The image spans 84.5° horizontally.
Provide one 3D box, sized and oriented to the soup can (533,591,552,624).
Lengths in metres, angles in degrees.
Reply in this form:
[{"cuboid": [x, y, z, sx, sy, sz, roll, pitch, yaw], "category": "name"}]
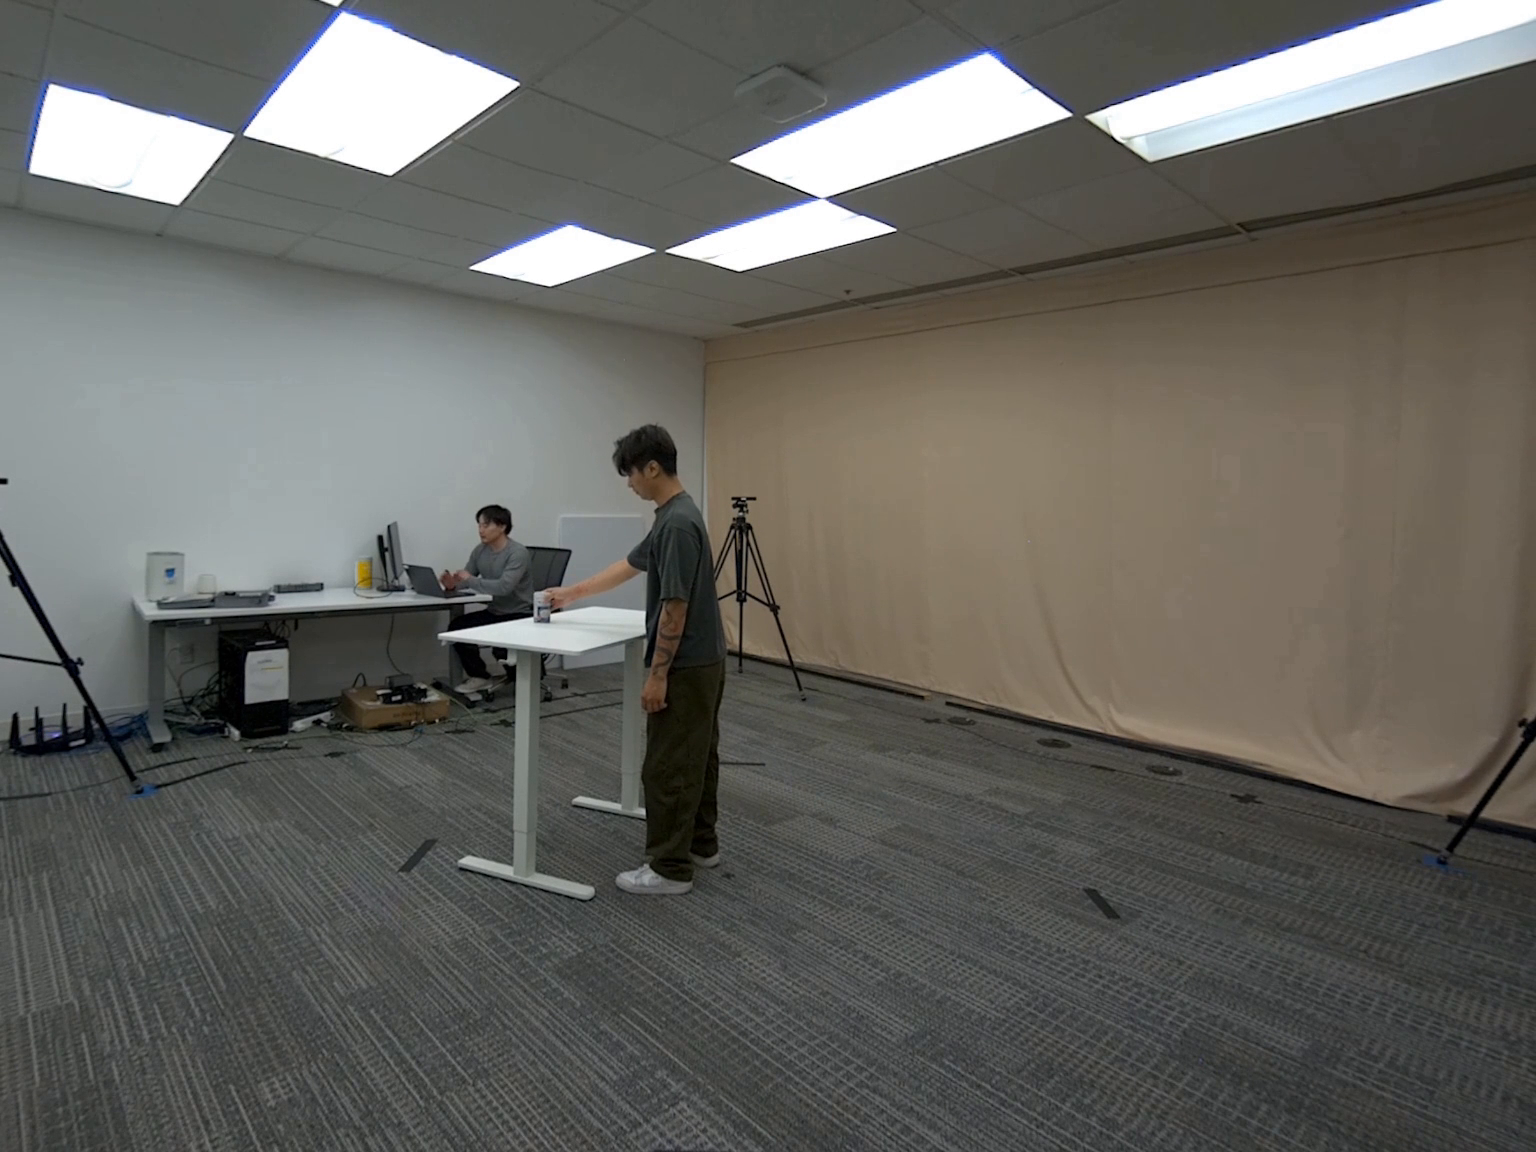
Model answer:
[{"cuboid": [-0.901, 0.125, 3.348, 0.067, 0.121, 0.067, -3, 2, -1], "category": "soup can"}]
